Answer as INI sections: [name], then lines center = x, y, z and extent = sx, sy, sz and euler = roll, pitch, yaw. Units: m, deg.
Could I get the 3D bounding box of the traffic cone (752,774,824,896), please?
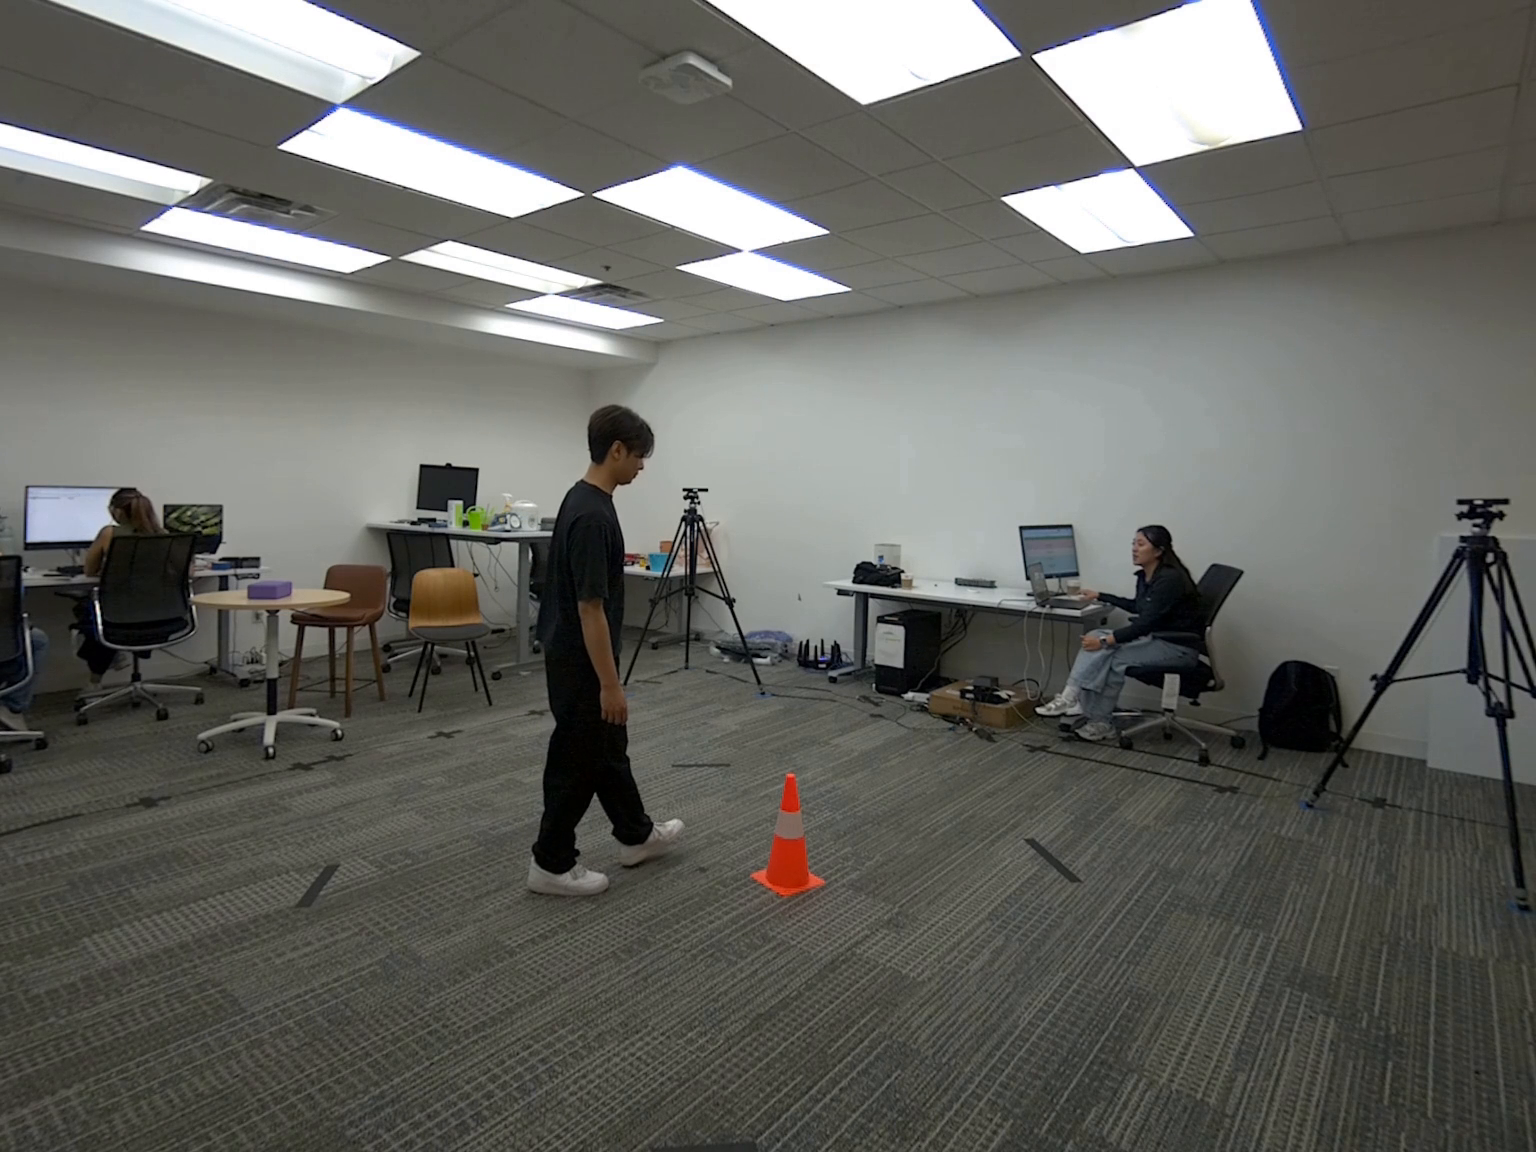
[traffic cone]
center = 0.069, 0.907, 3.029
extent = 0.197, 0.382, 0.212
euler = -2, 6, -38
